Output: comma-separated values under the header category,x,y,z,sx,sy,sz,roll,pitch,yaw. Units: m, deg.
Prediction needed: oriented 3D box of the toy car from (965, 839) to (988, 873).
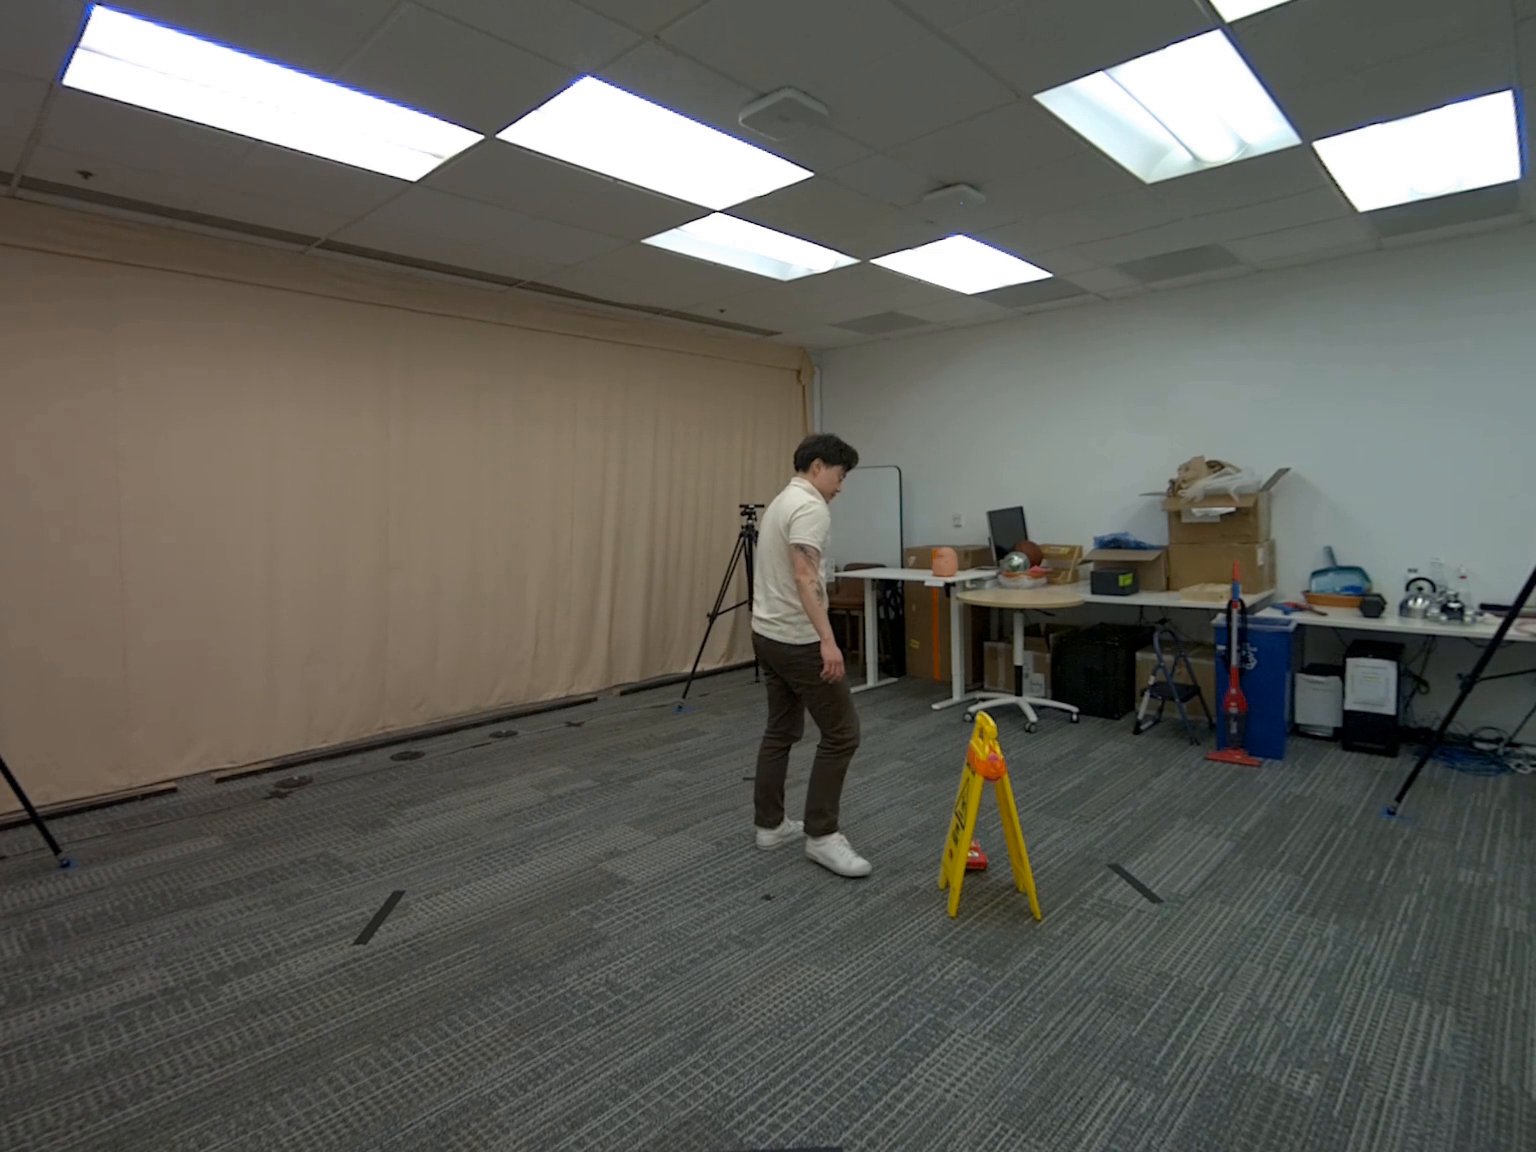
category,x,y,z,sx,sy,sz,roll,pitch,yaw
toy car,0.778,1.072,3.241,0.131,0.083,0.252,1,-5,3
